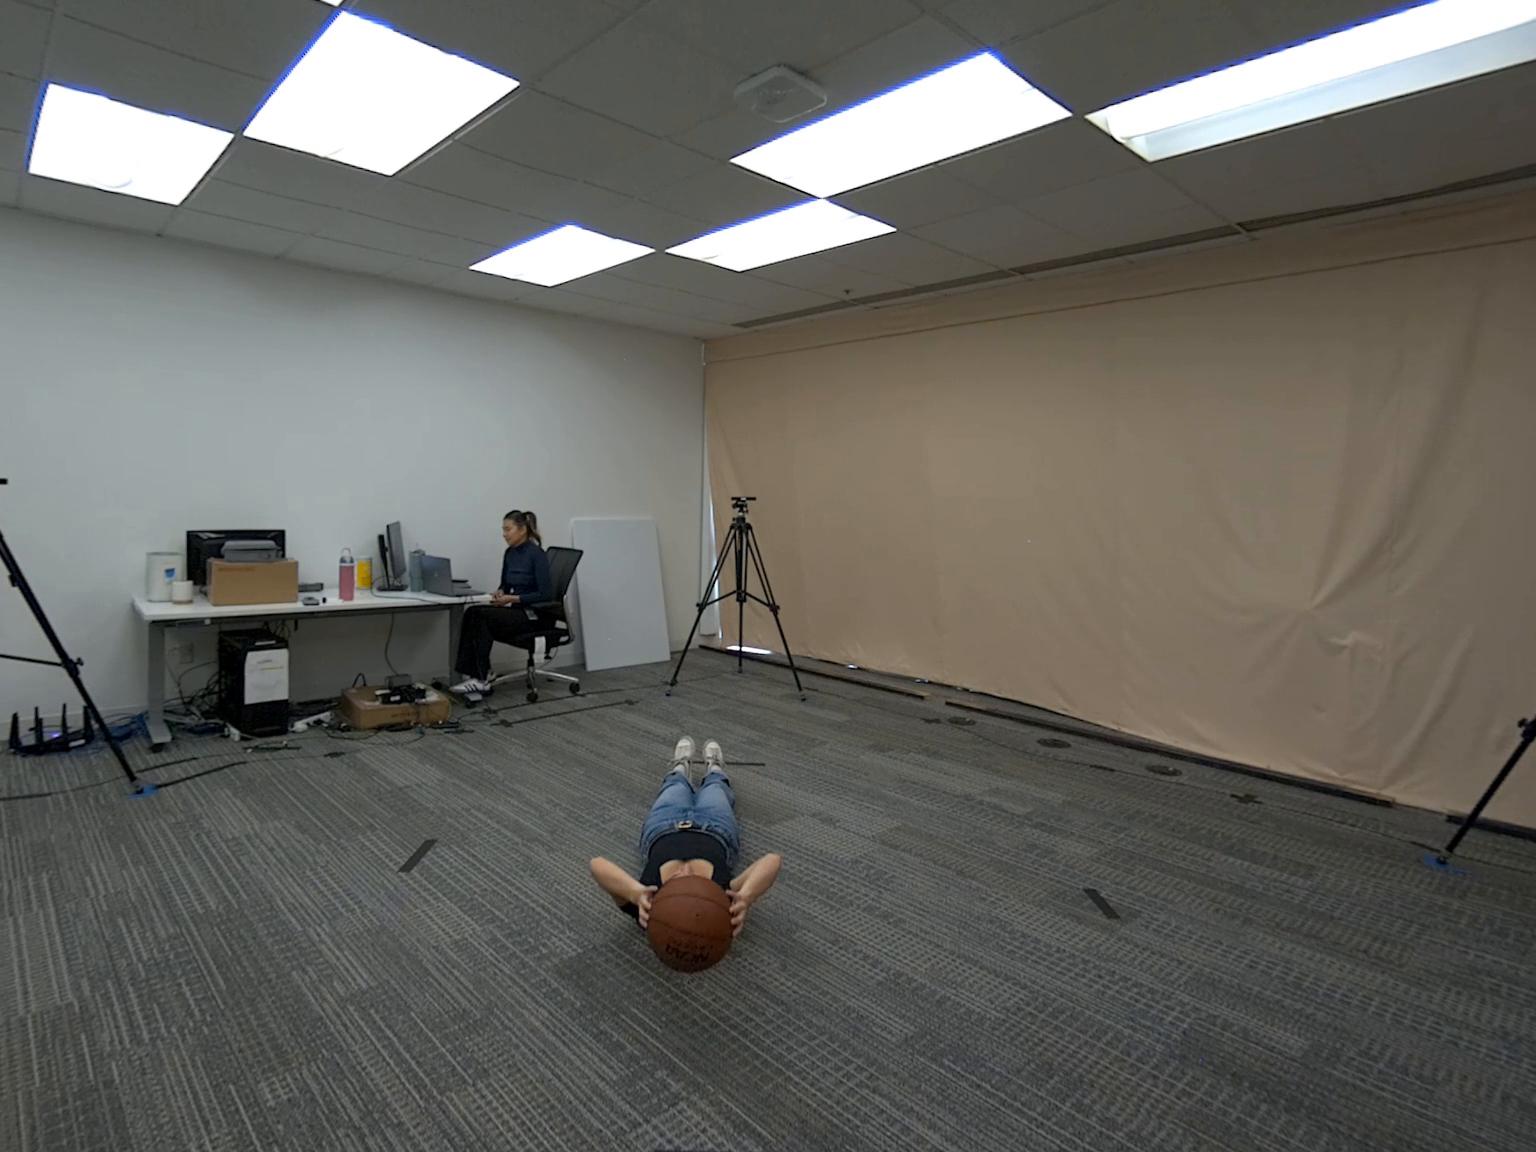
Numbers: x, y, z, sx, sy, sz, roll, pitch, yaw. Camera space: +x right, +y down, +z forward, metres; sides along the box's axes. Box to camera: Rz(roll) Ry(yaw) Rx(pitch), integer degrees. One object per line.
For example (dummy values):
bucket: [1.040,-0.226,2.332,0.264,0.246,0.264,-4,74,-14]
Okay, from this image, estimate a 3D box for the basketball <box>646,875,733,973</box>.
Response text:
basketball: [-0.213,0.916,2.256,0.236,0.235,0.237,1,4,-1]
